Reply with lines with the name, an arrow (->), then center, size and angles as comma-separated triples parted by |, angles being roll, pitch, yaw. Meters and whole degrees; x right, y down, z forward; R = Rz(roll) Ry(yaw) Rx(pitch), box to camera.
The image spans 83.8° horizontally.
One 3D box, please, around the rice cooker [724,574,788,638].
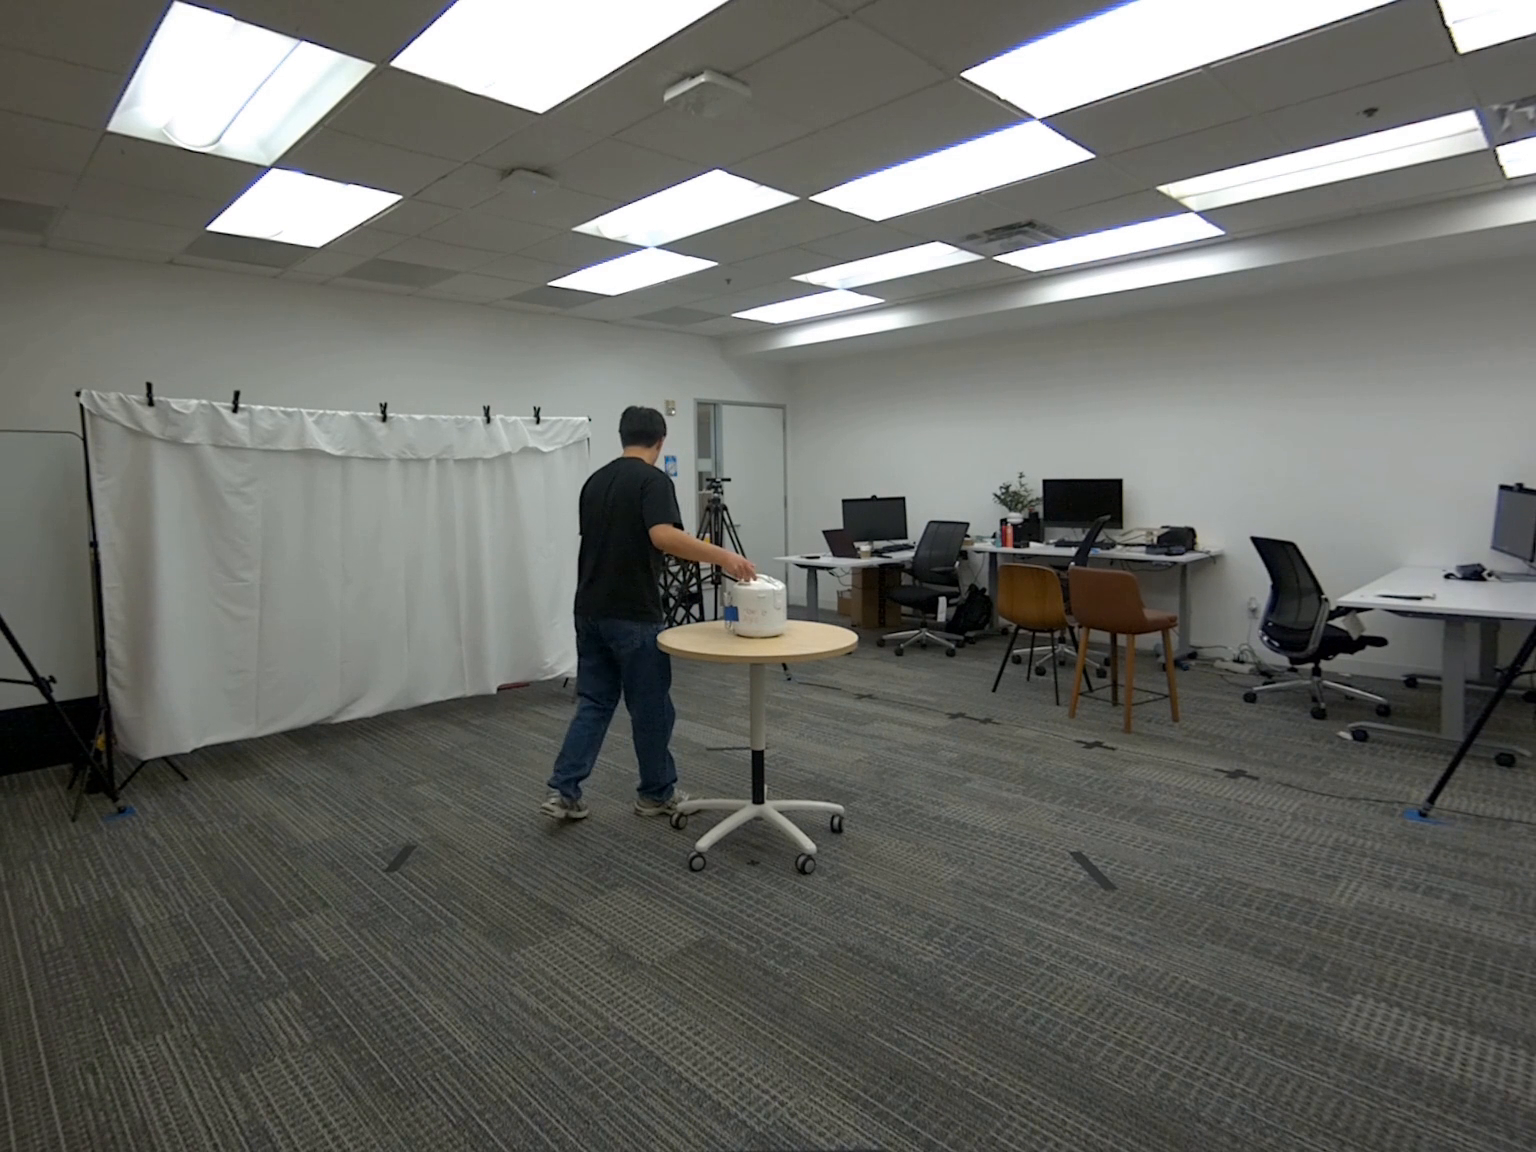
rice cooker -> -0.031, 0.109, 3.287 | 0.212, 0.232, 0.227 | -6, 8, -42
